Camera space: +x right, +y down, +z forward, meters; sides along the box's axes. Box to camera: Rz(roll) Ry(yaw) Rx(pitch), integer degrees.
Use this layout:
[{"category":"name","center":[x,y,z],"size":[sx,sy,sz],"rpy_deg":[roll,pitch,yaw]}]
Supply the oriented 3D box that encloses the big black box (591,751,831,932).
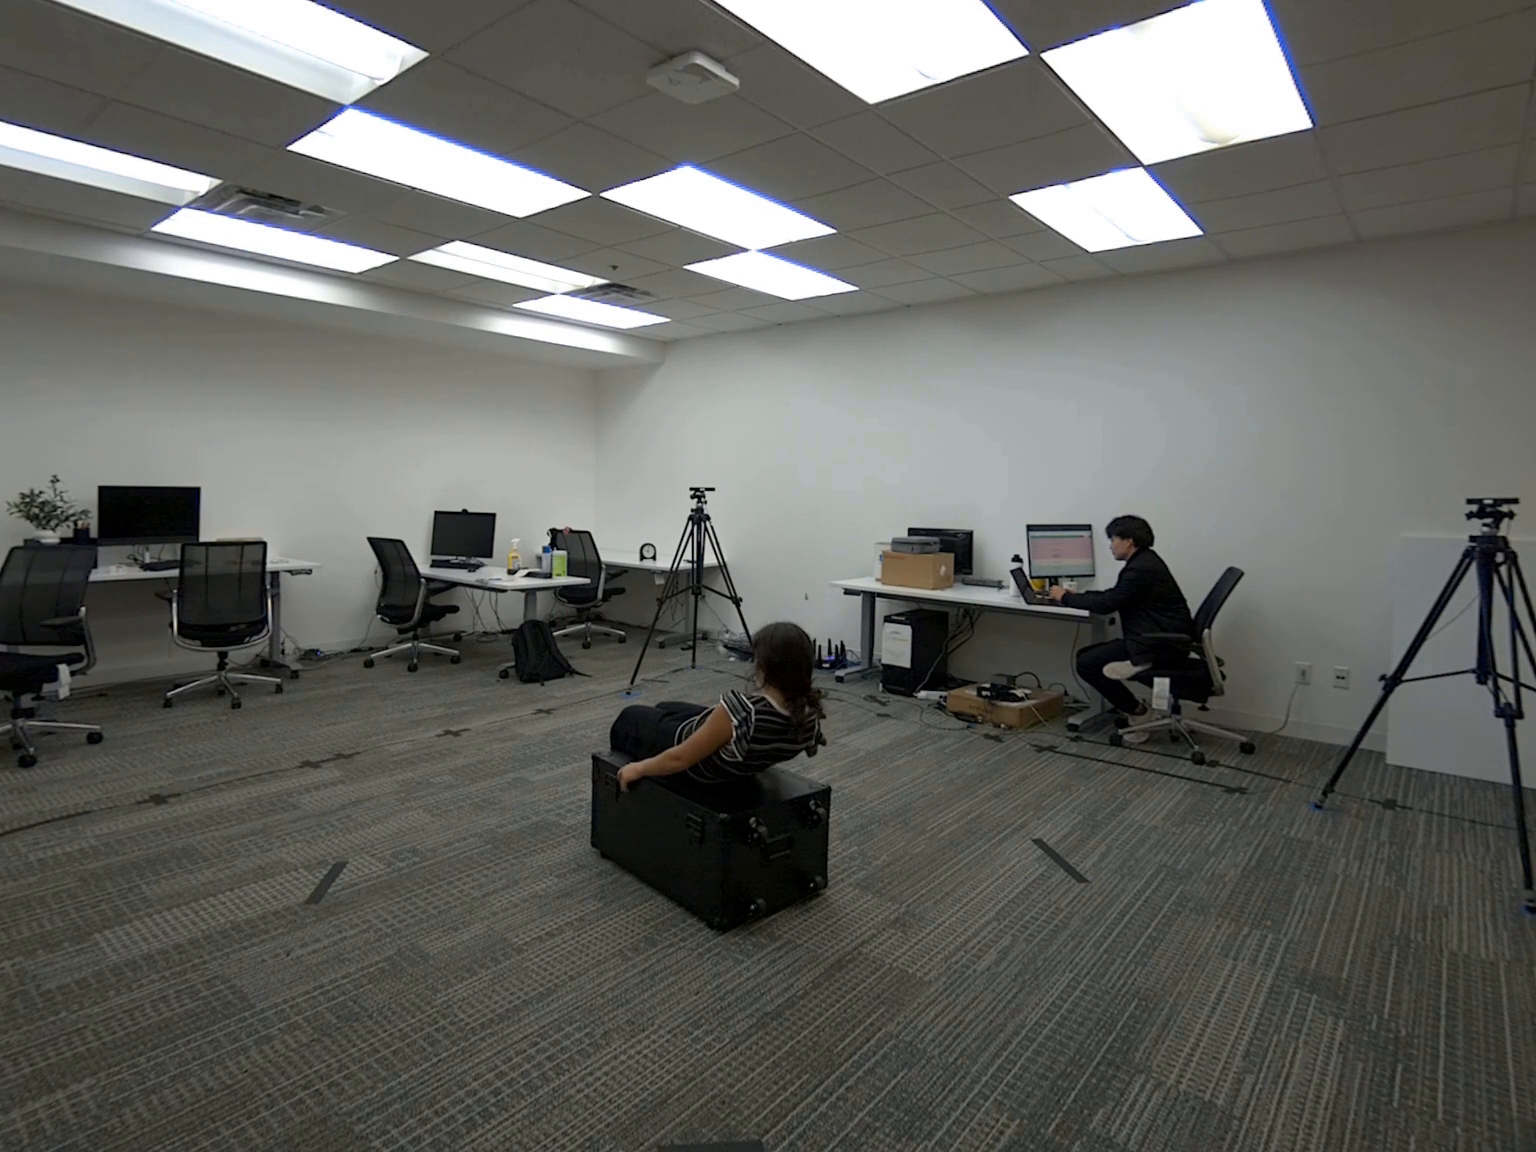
[{"category":"big black box","center":[-0.215,0.889,3.041],"size":[0.505,0.395,0.890],"rpy_deg":[-2,5,-41]}]
